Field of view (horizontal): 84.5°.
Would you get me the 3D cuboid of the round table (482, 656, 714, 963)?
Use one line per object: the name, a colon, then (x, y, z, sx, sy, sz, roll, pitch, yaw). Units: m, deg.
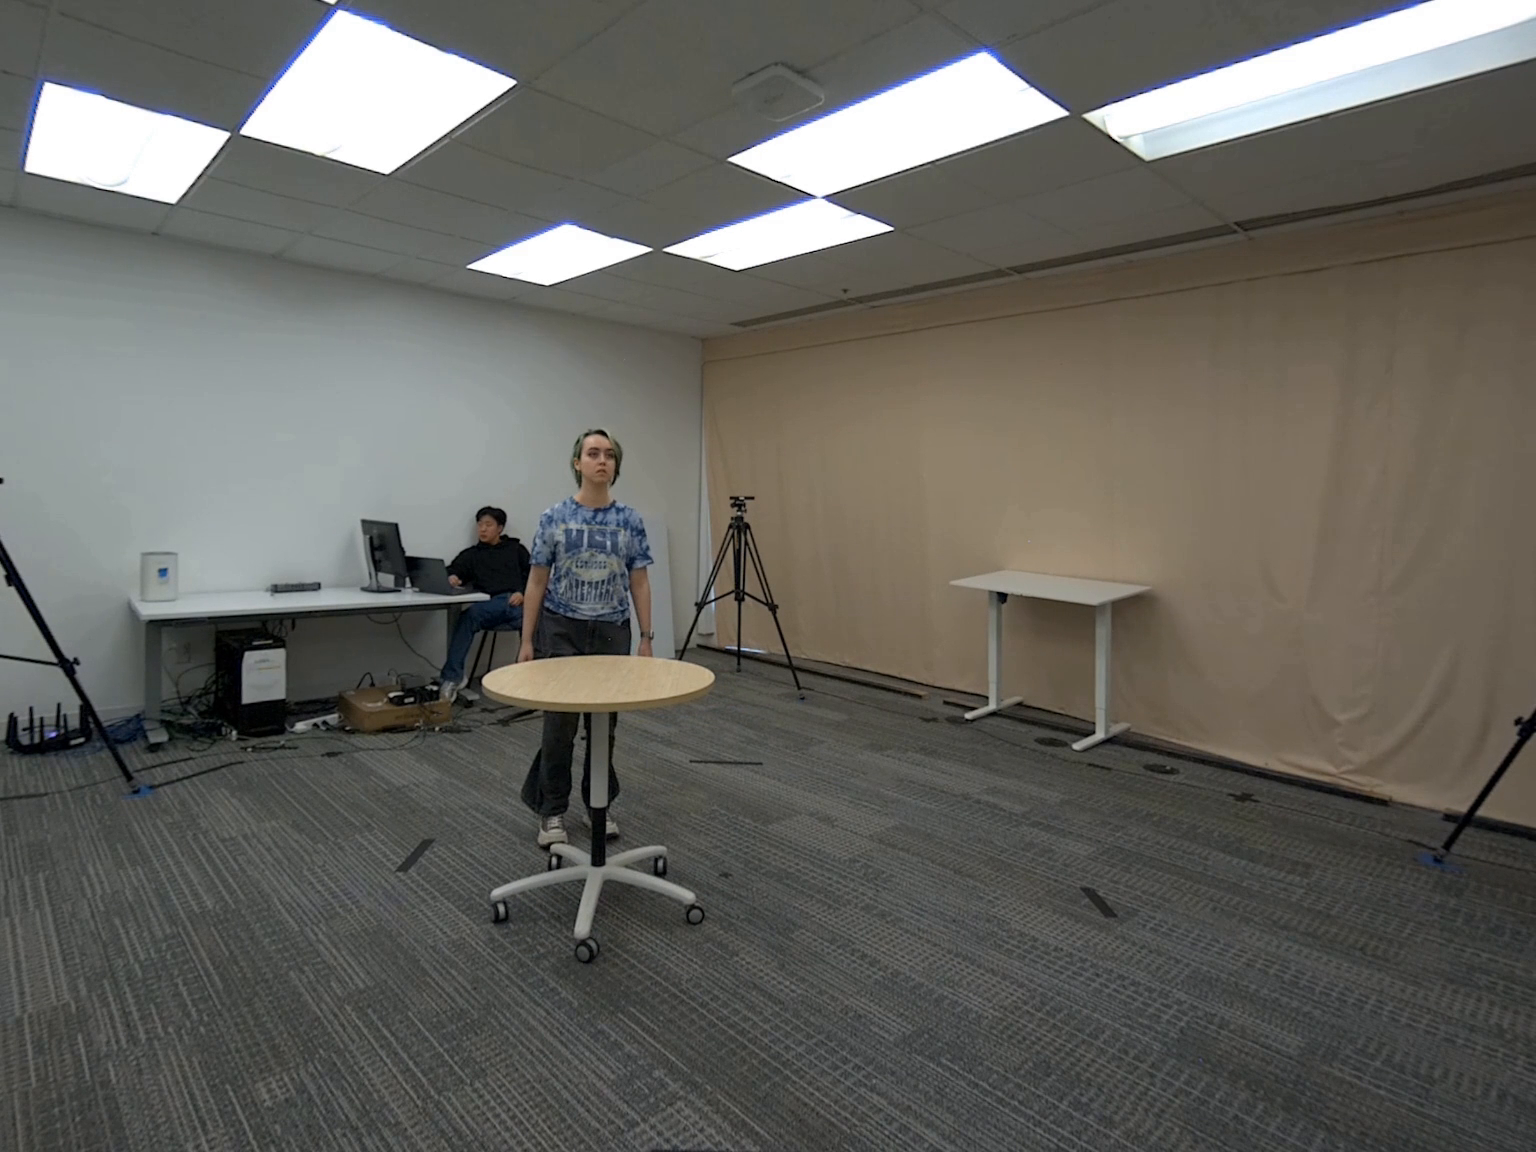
round table: (-0.566, 0.730, 2.832, 0.763, 0.792, 0.766, 1, 4, -1)
